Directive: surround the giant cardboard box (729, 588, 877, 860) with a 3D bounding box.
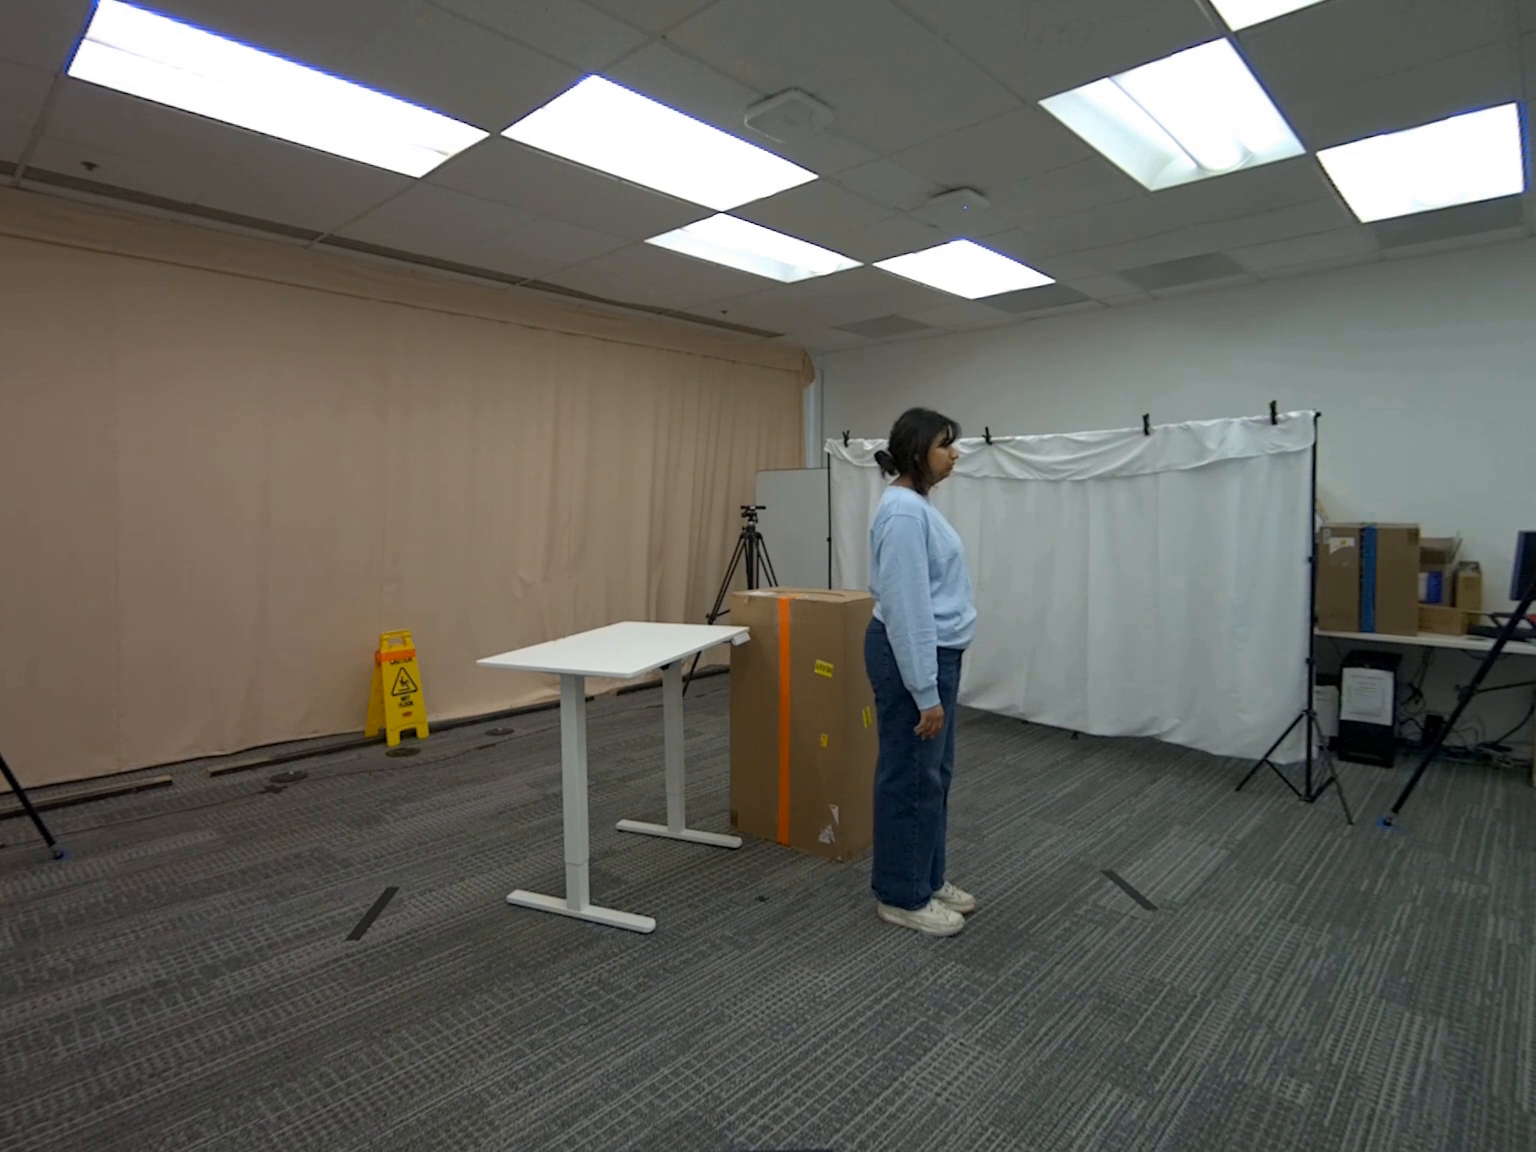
[{"bbox_3d":[0.188,0.585,3.592,0.596,1.024,0.413,3,4,38],"label":"giant cardboard box"}]
